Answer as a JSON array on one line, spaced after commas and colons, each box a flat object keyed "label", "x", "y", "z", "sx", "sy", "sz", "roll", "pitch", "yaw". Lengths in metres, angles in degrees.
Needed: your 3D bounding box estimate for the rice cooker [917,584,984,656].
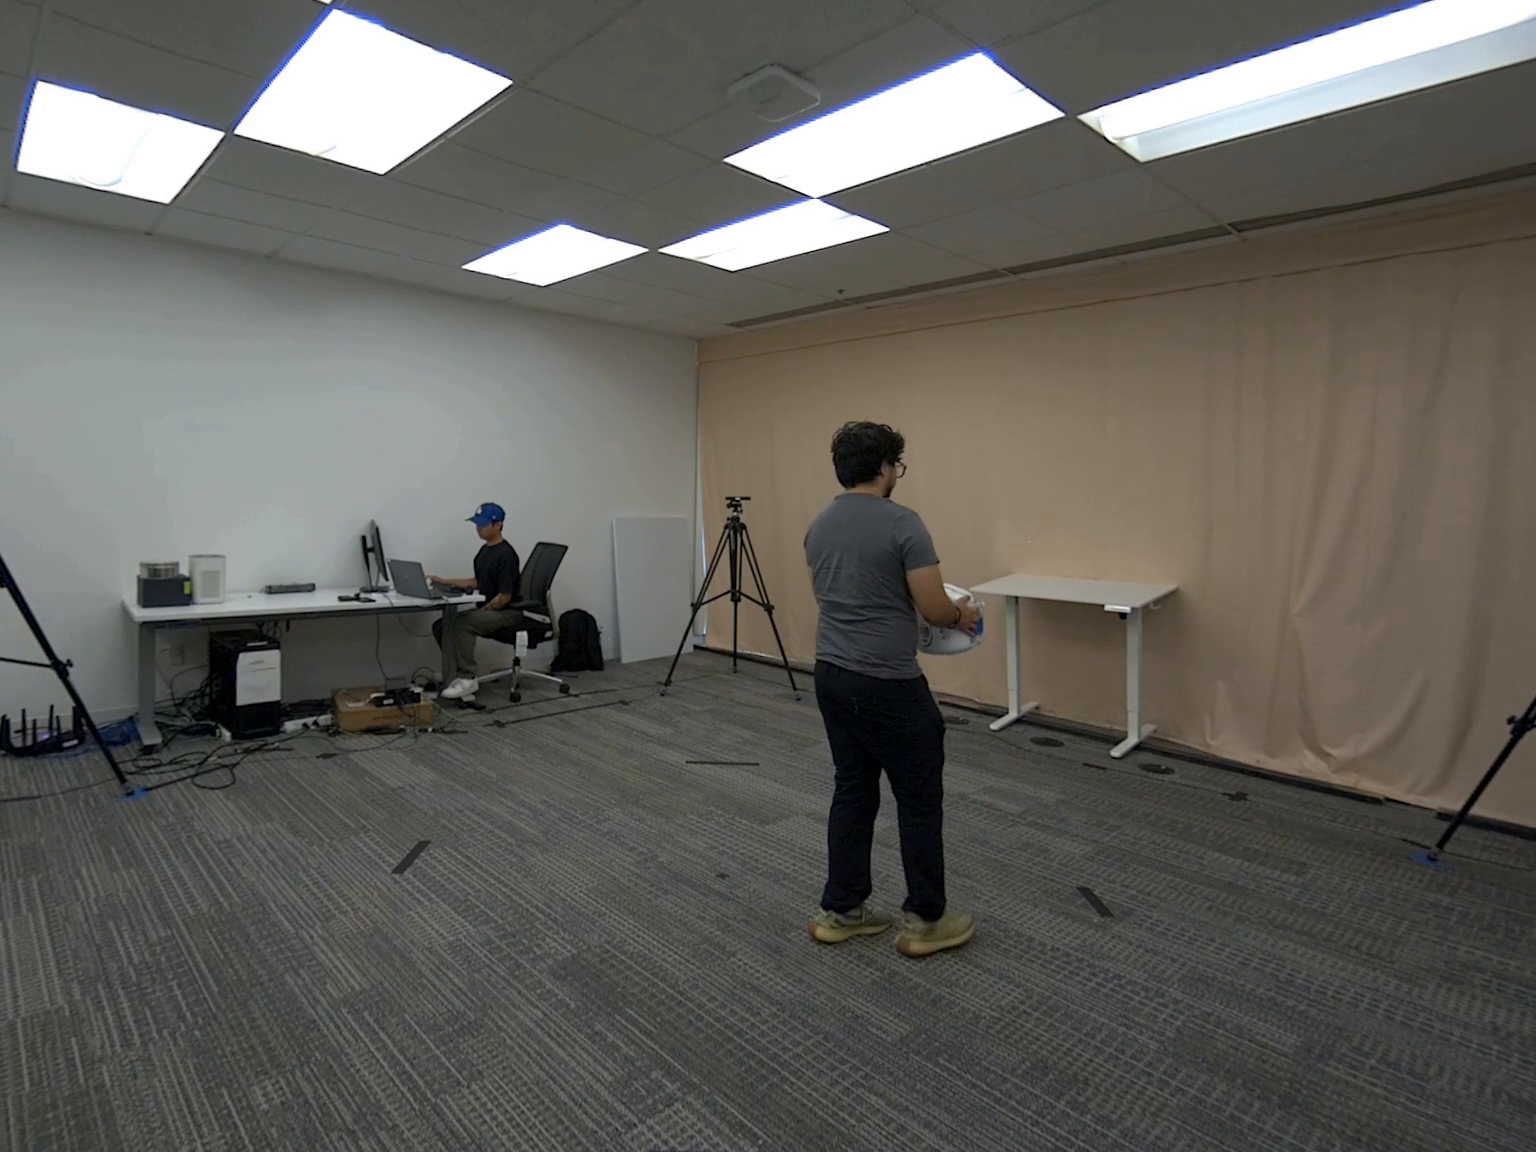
[{"label": "rice cooker", "x": 0.595, "y": 0.144, "z": 2.870, "sx": 0.213, "sy": 0.232, "sz": 0.226, "roll": -9, "pitch": 8, "yaw": -43}]
